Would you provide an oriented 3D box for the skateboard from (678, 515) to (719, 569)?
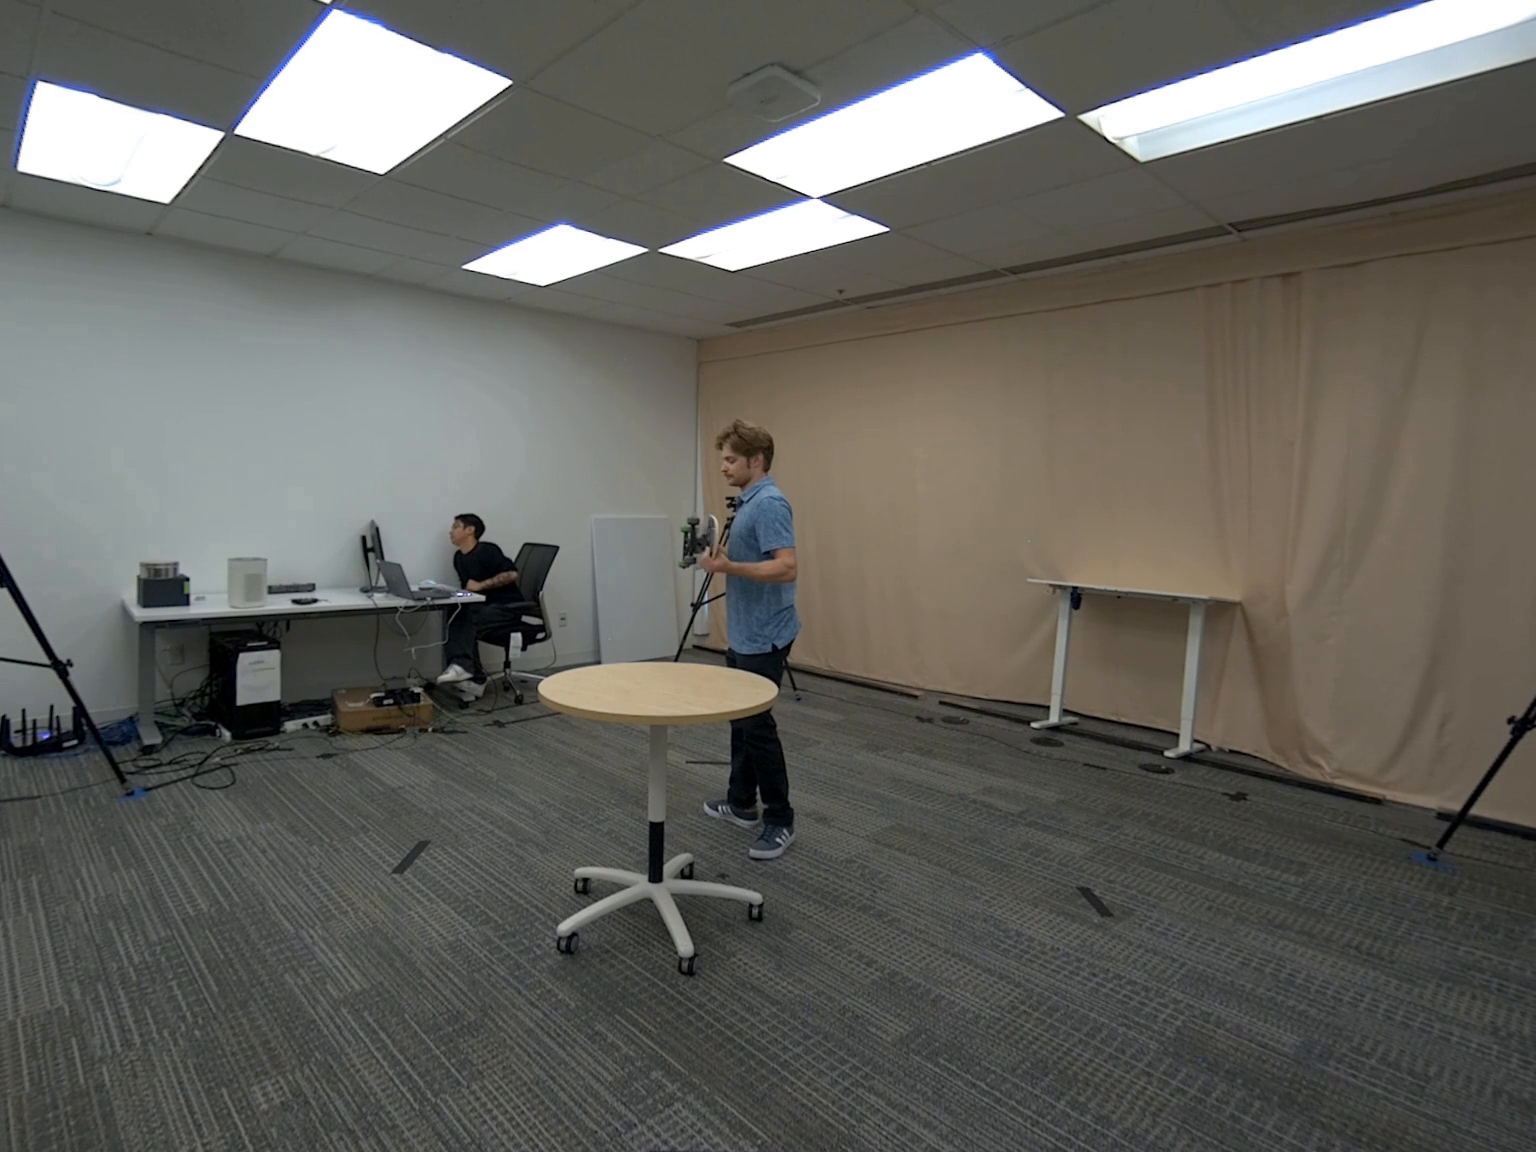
[{"bbox_3d":[-0.302,-0.122,3.468,0.109,0.194,0.788,3,-5,-10],"label":"skateboard"}]
